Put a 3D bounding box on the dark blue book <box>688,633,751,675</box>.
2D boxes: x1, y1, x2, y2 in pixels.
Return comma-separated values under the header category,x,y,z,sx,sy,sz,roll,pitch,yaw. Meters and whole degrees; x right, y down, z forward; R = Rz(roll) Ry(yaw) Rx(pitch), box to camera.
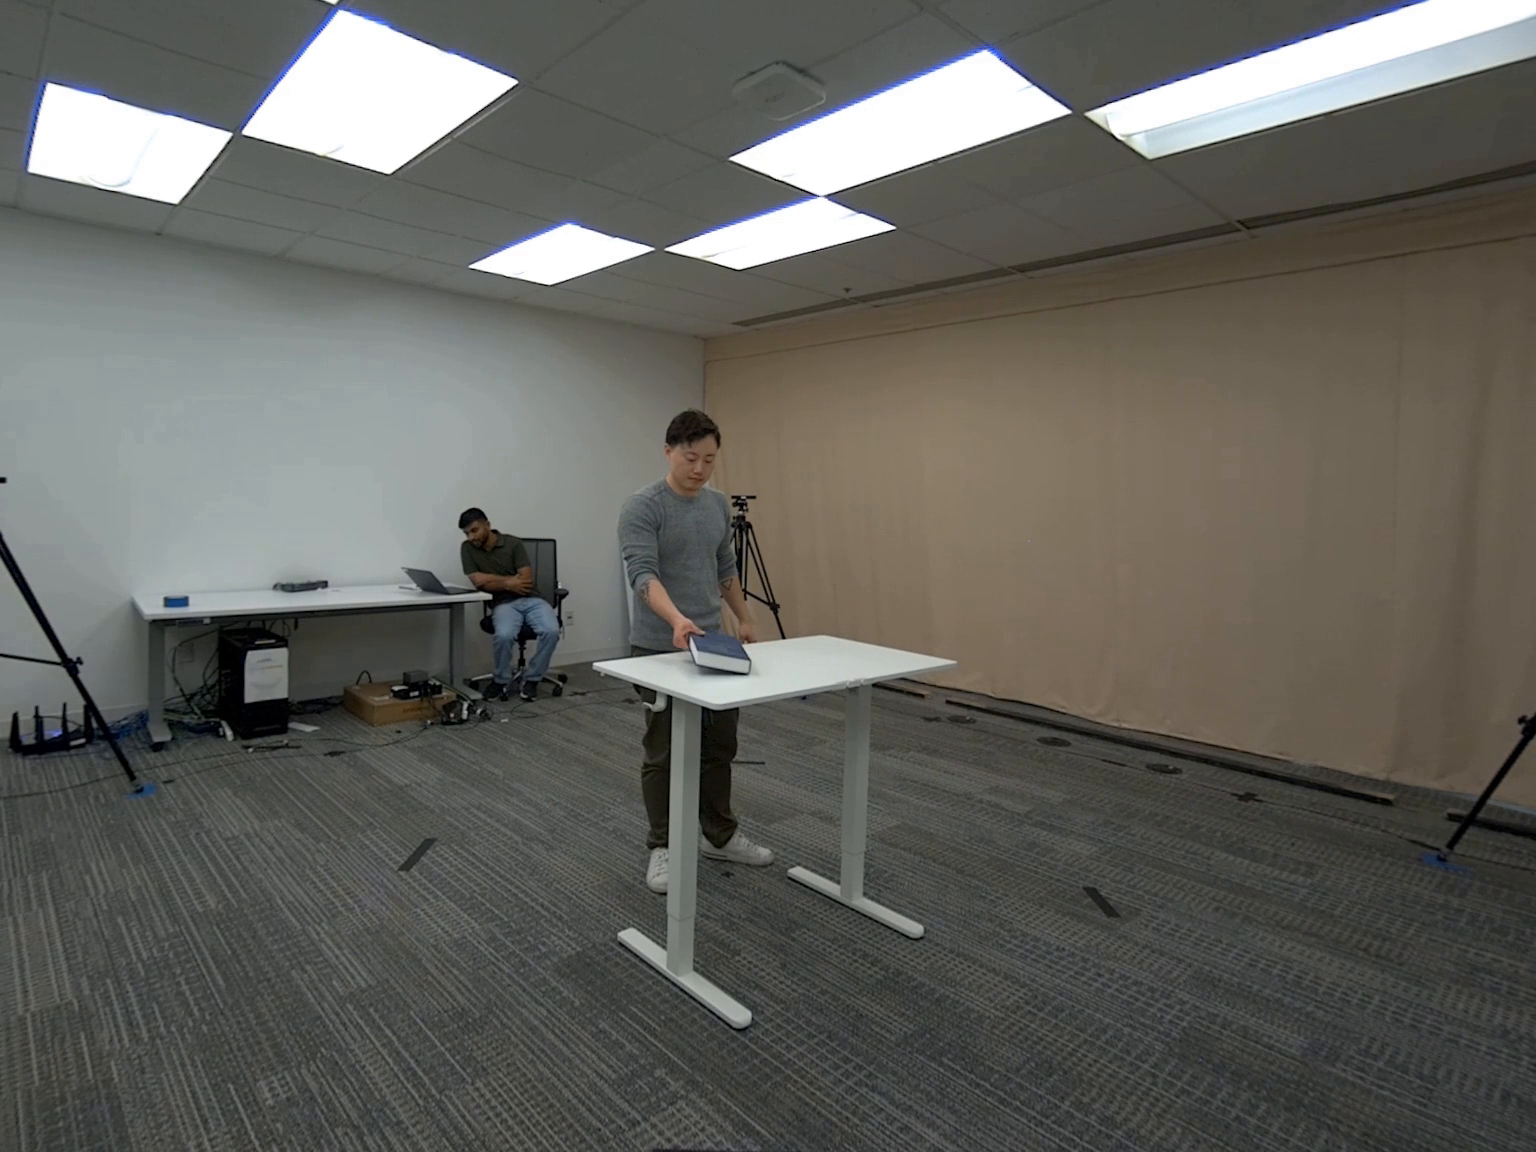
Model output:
category,x,y,z,sx,sy,sz,roll,pitch,yaw
dark blue book,-0.157,0.229,2.504,0.161,0.045,0.249,8,8,-14
